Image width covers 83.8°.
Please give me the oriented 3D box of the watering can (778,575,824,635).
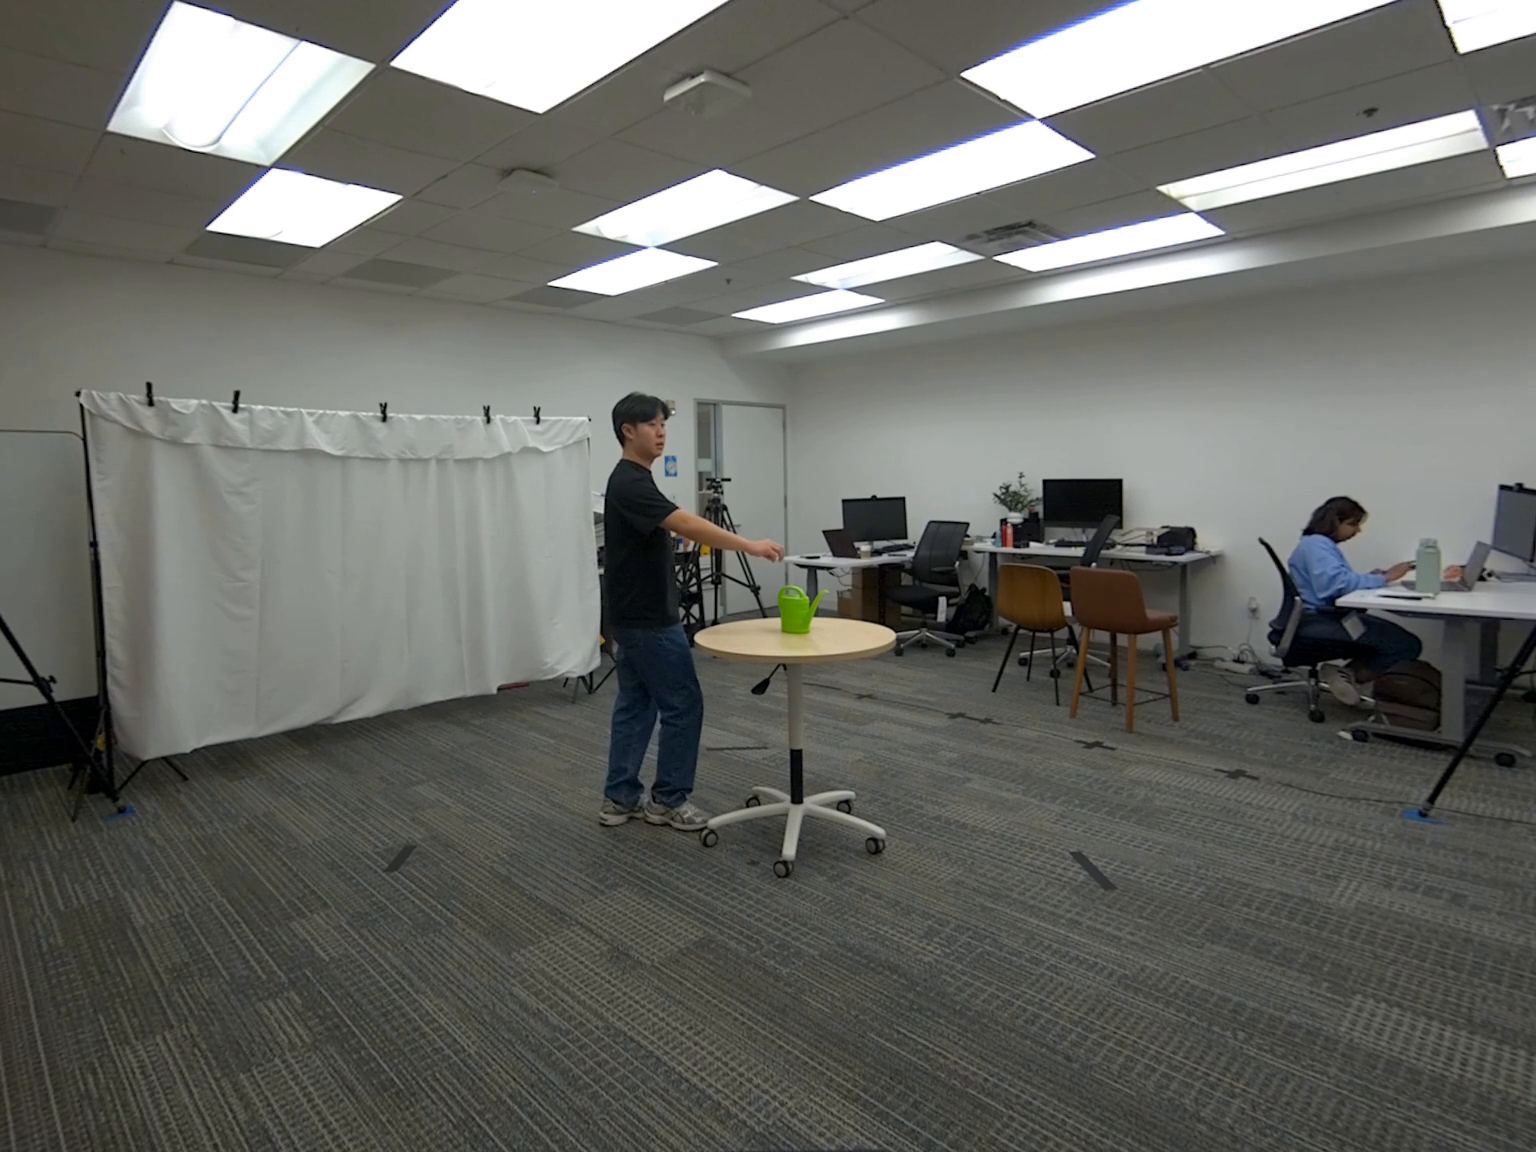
[{"bbox_3d":[0.131,0.134,3.290,0.096,0.176,0.285,-5,6,-26],"label":"watering can"}]
